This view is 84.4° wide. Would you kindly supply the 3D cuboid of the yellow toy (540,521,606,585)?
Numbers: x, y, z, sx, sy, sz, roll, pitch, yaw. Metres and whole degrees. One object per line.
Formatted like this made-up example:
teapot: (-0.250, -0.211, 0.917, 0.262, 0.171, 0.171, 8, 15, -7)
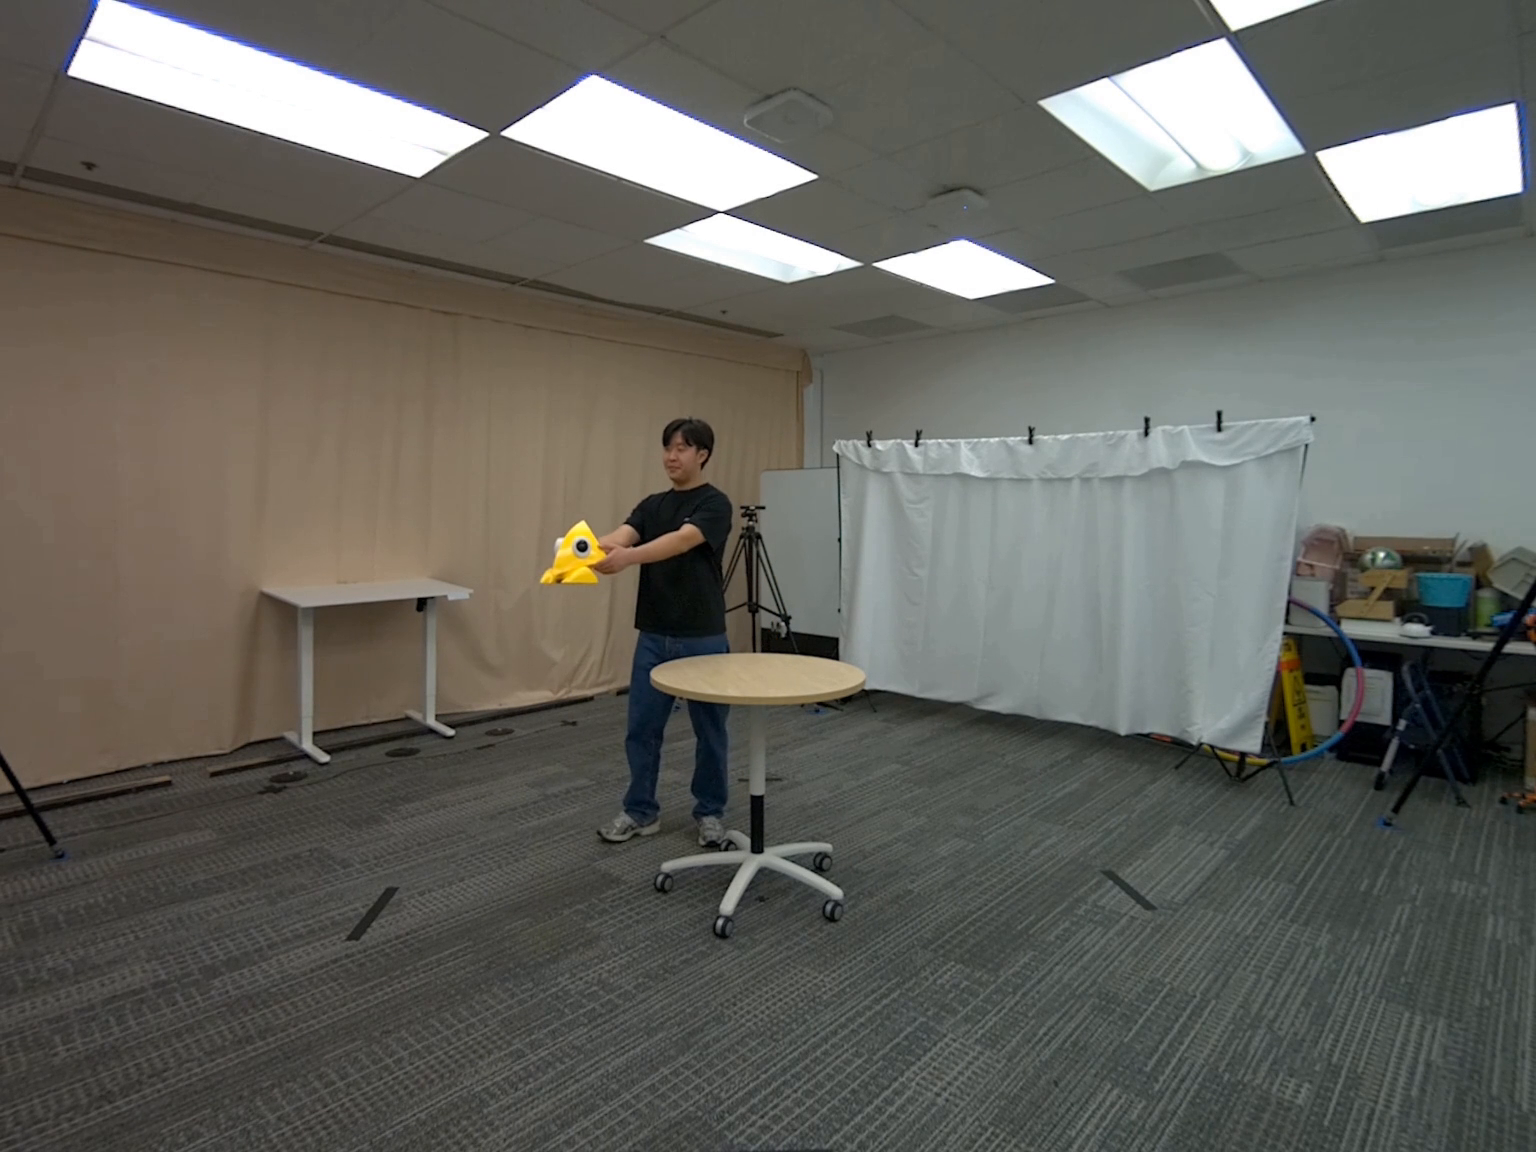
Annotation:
yellow toy: (-0.701, -0.087, 3.031, 0.211, 0.231, 0.187, -1, -2, 33)
